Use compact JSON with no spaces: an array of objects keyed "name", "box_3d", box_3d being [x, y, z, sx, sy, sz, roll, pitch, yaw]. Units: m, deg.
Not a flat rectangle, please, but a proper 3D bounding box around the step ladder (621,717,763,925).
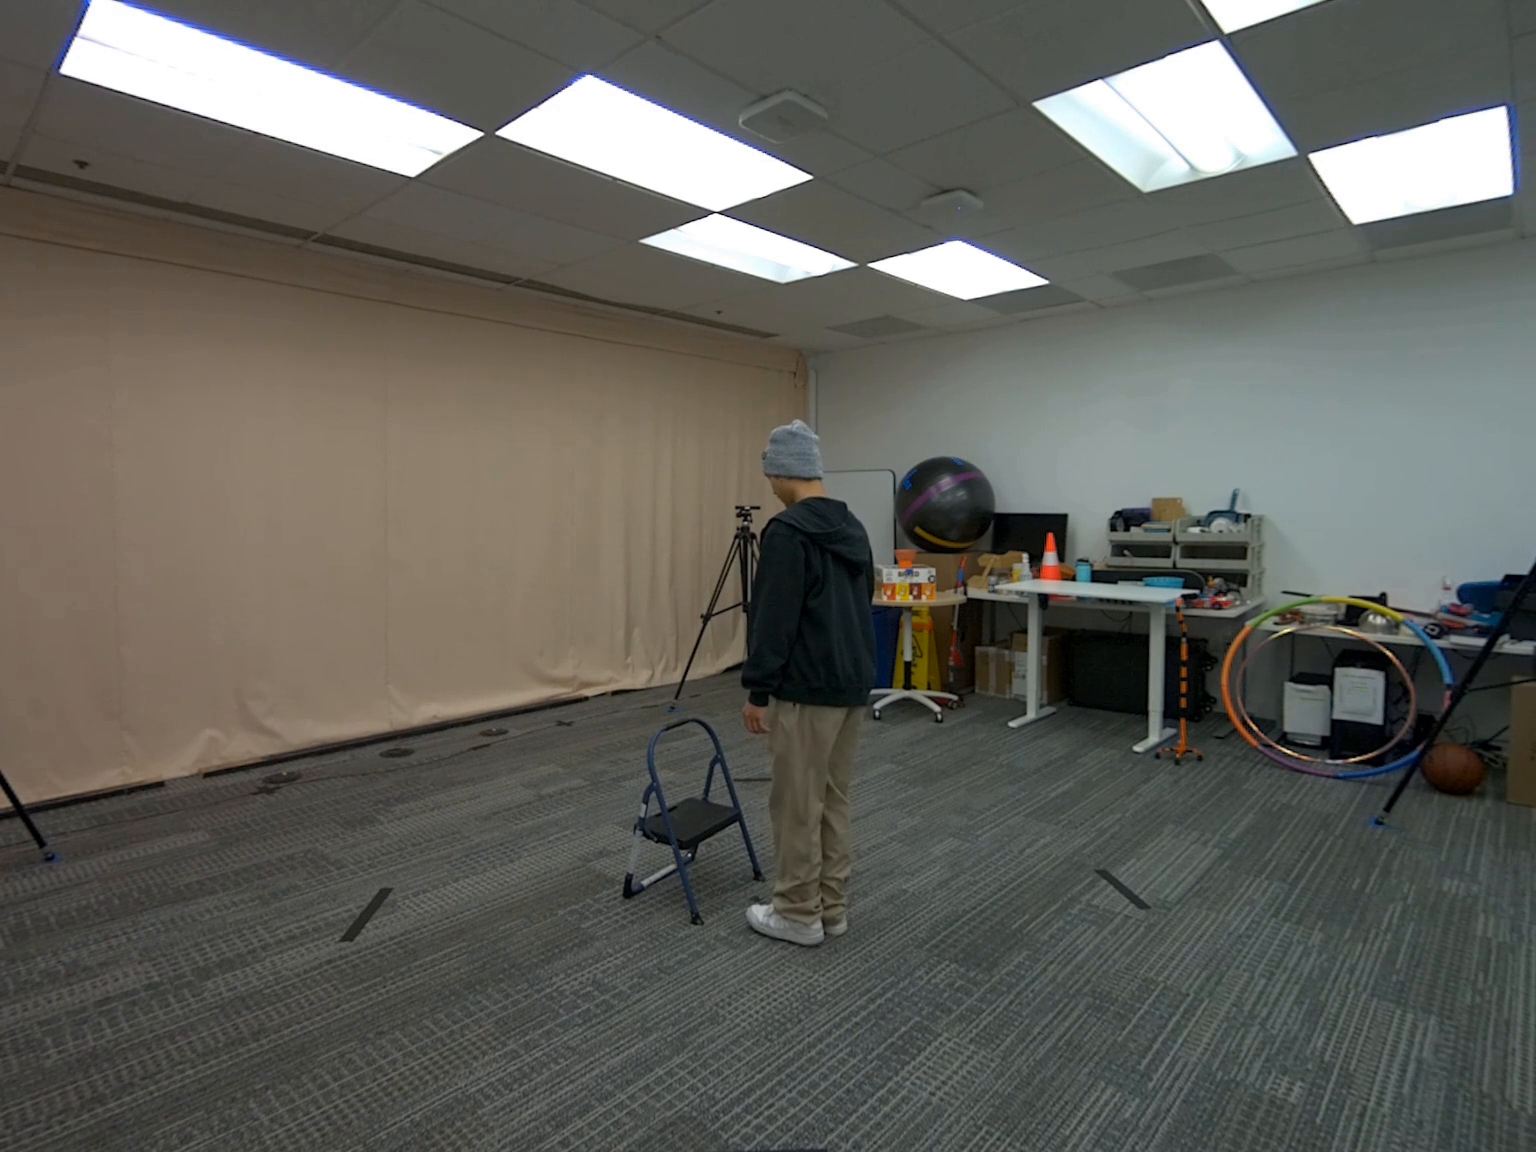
[{"name":"step ladder","box_3d":[-0.267,0.836,3.053,0.360,0.605,0.418,2,4,32]}]
